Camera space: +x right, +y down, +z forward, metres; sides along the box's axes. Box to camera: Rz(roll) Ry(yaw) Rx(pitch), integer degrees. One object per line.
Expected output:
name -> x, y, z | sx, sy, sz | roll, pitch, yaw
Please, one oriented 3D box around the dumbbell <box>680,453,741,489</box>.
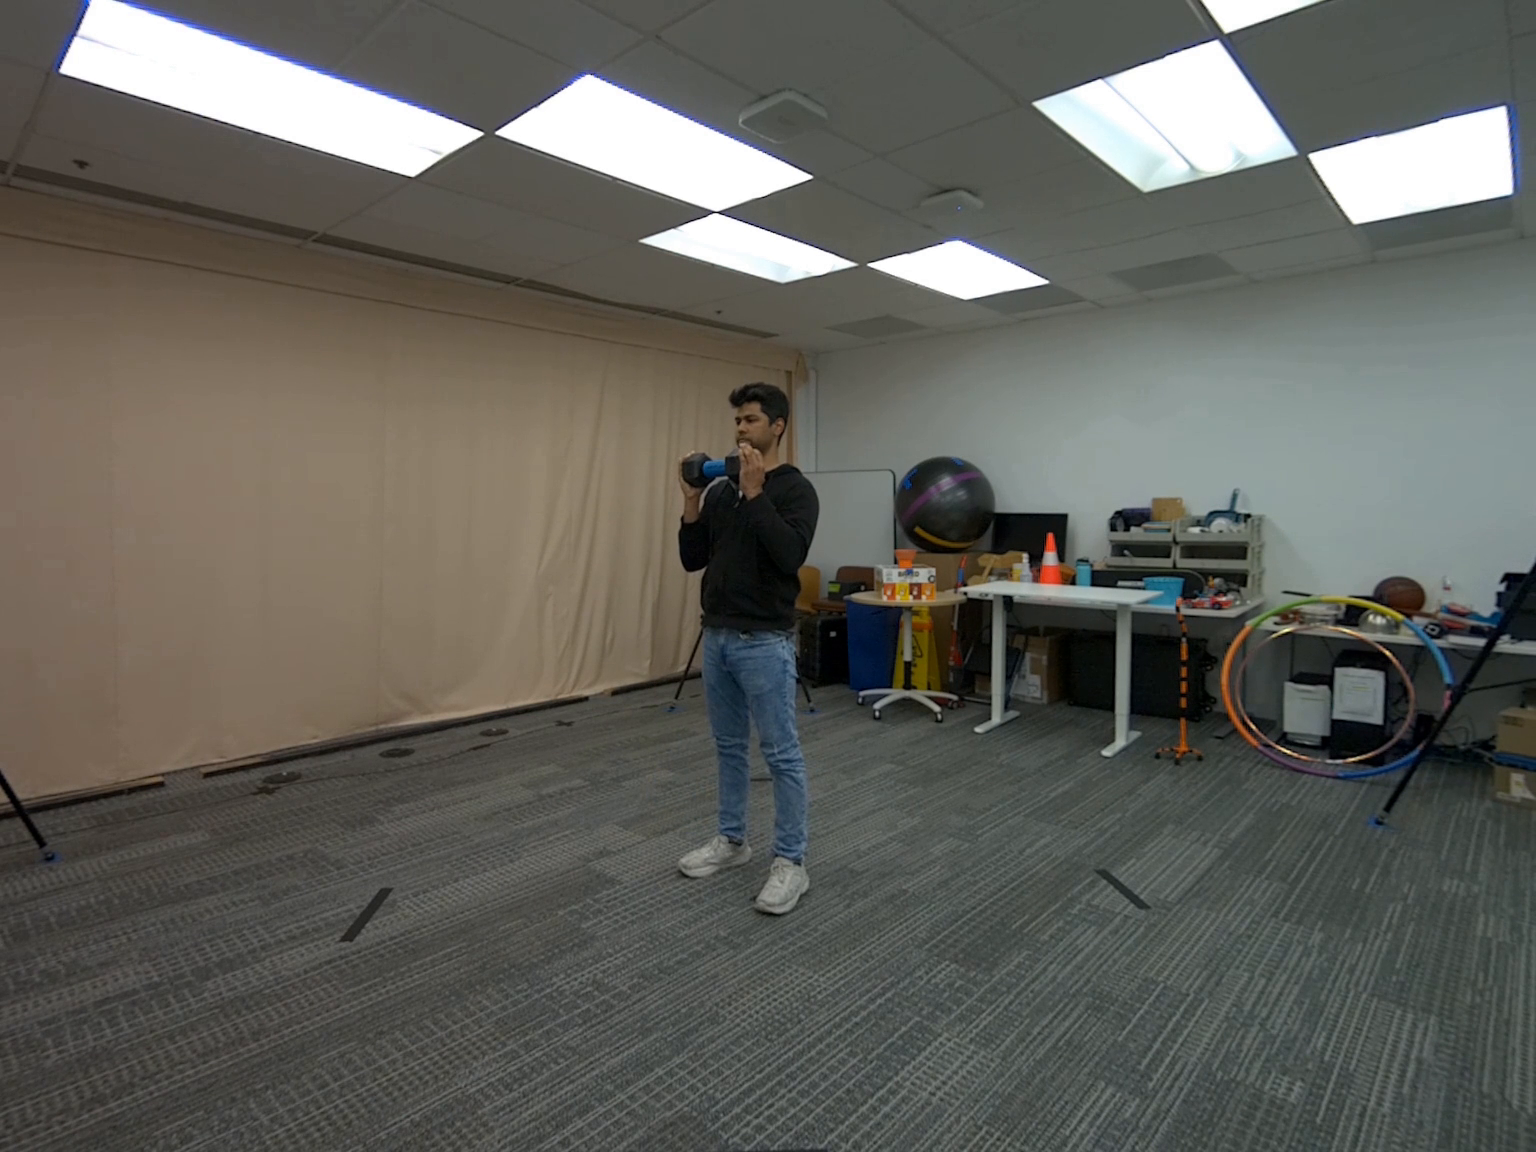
dumbbell -> -0.153, -0.373, 2.934 | 0.303, 0.123, 0.105 | 1, 0, 44
